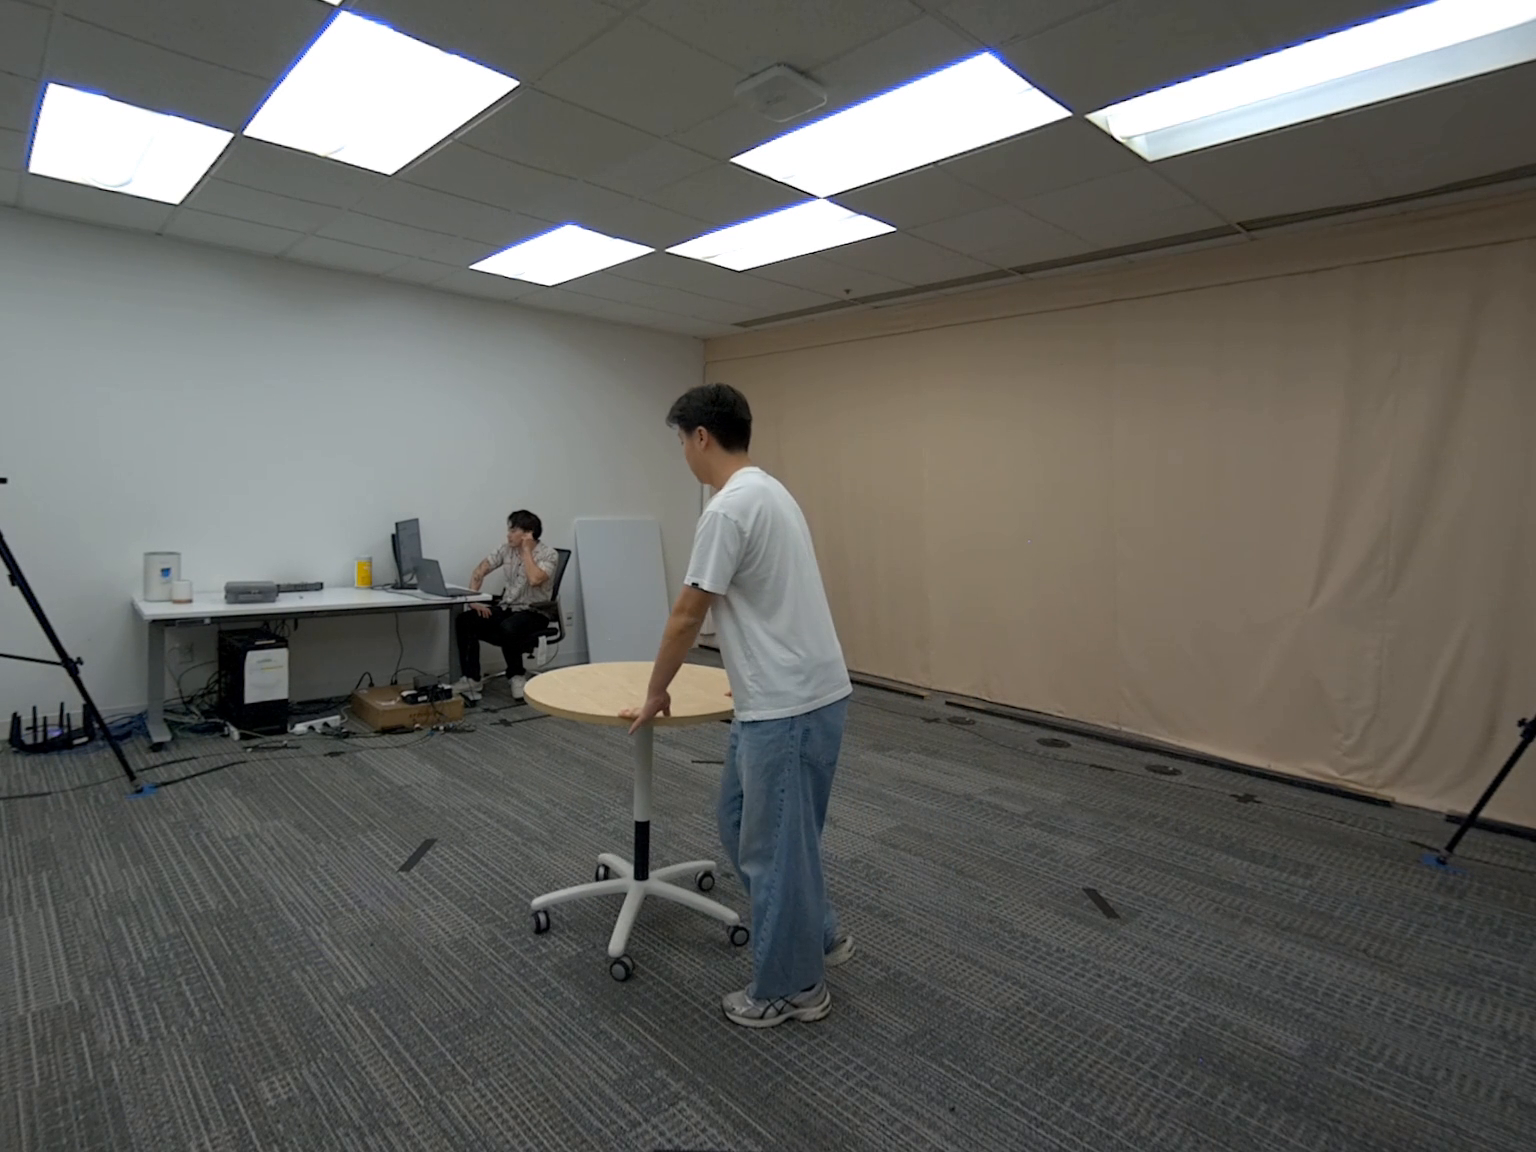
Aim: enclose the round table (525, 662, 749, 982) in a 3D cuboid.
[{"bbox_3d":[-0.408,0.747,2.743,0.763,0.792,0.767,1,4,-1],"label":"round table"}]
